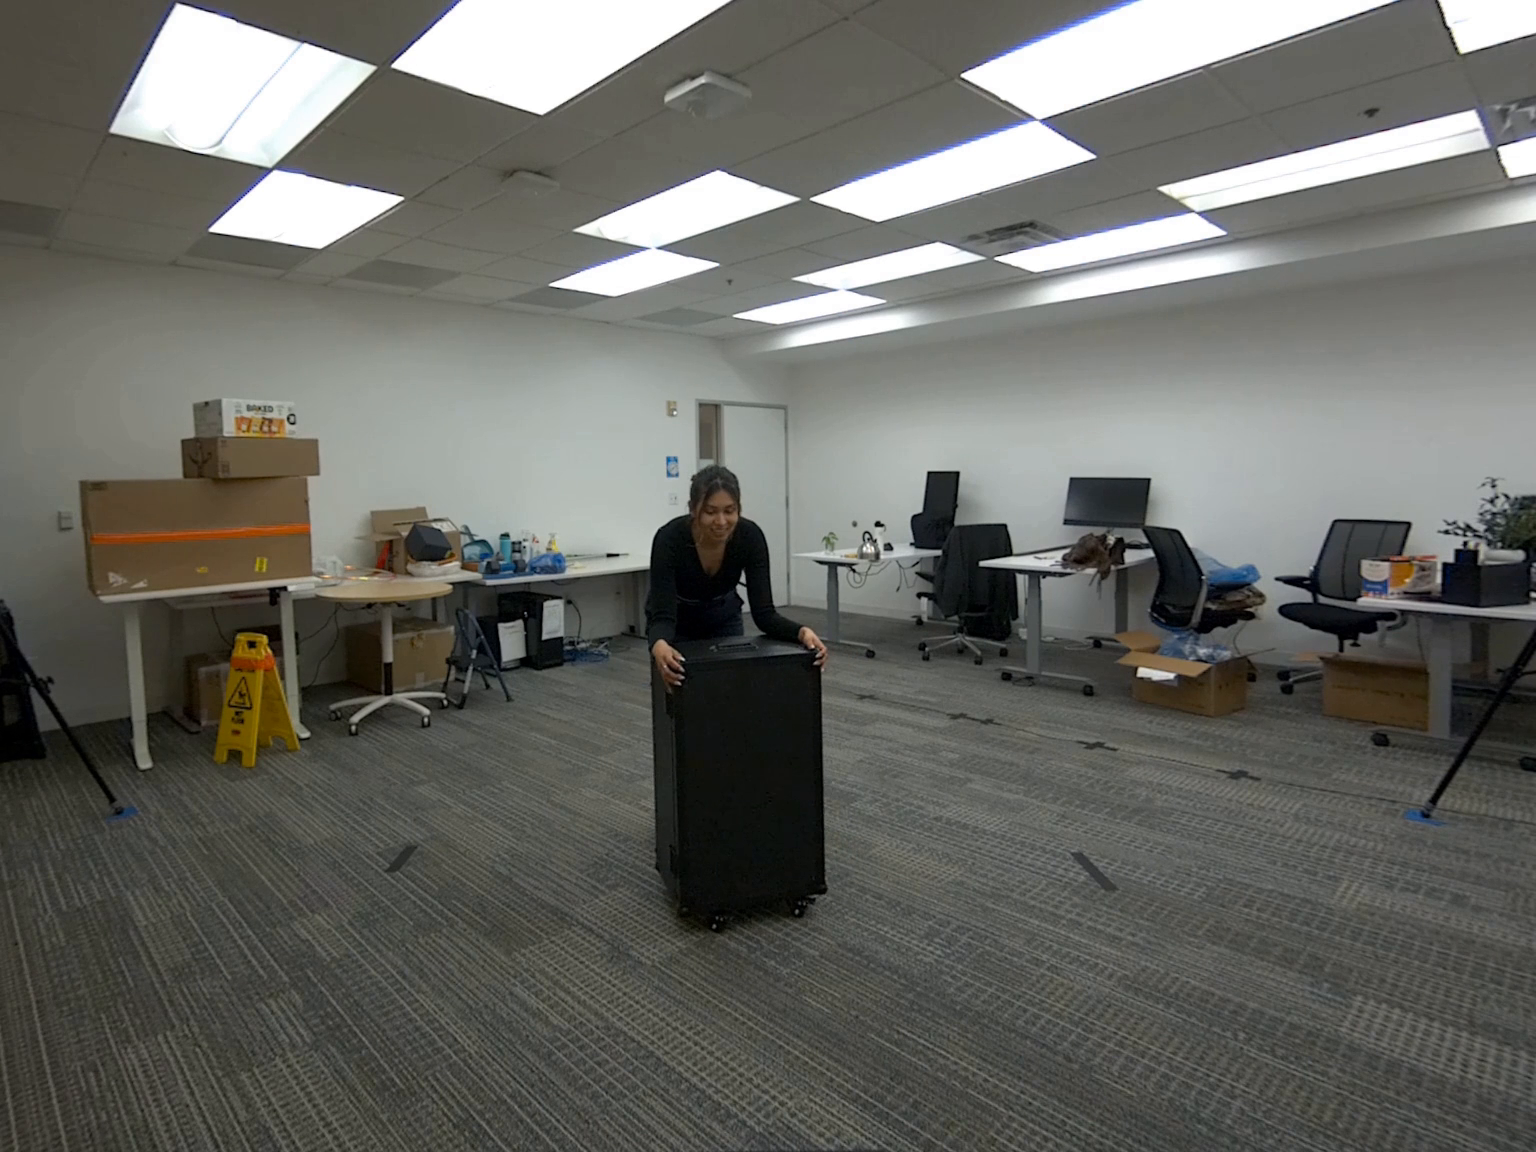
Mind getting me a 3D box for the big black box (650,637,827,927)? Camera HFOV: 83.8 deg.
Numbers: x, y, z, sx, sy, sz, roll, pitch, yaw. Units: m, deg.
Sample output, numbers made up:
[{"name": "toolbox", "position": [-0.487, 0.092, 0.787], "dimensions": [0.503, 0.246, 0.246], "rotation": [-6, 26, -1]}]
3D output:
[{"name": "big black box", "position": [-0.114, 0.655, 2.811], "dimensions": [0.513, 0.859, 0.404], "rotation": [-3, 3, -18]}]
